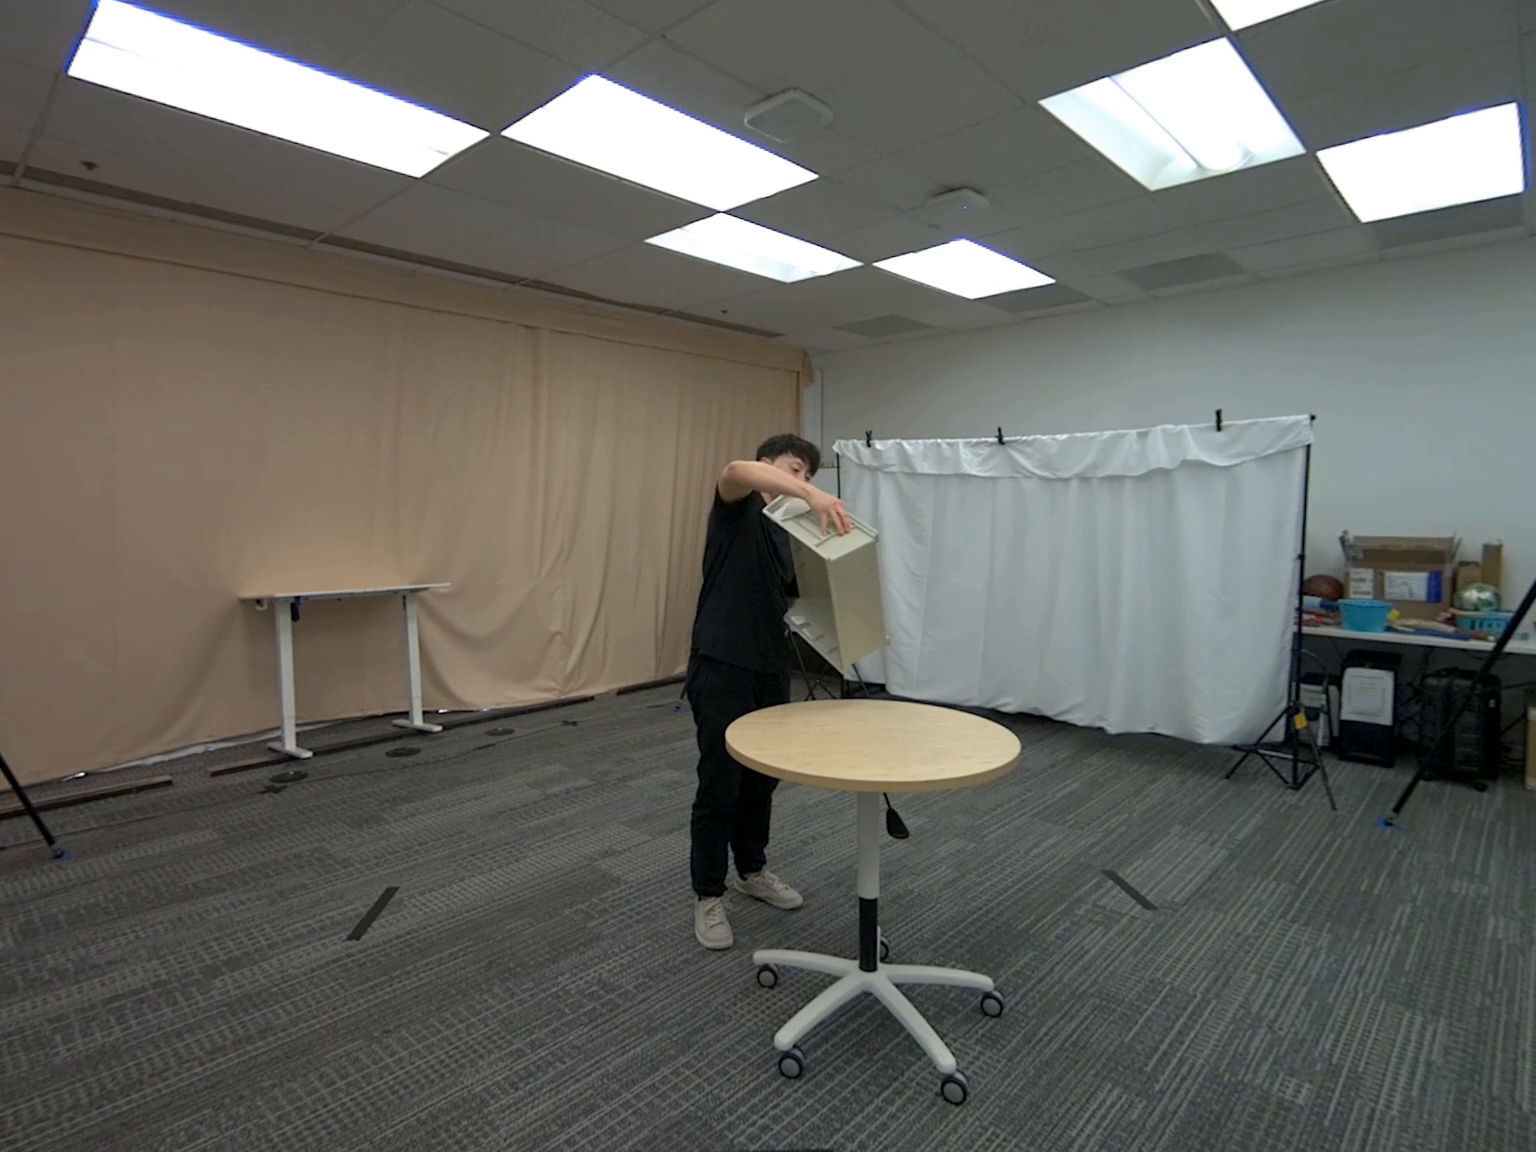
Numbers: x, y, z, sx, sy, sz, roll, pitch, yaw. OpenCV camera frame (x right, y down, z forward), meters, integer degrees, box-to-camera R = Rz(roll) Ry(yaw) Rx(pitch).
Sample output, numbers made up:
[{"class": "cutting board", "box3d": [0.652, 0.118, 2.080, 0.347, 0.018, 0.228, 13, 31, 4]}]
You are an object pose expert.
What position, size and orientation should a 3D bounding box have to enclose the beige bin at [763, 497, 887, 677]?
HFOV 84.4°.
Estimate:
[{"class": "beige bin", "box3d": [0.176, 0.003, 2.511, 0.186, 0.412, 0.391, -26, 37, -20]}]
